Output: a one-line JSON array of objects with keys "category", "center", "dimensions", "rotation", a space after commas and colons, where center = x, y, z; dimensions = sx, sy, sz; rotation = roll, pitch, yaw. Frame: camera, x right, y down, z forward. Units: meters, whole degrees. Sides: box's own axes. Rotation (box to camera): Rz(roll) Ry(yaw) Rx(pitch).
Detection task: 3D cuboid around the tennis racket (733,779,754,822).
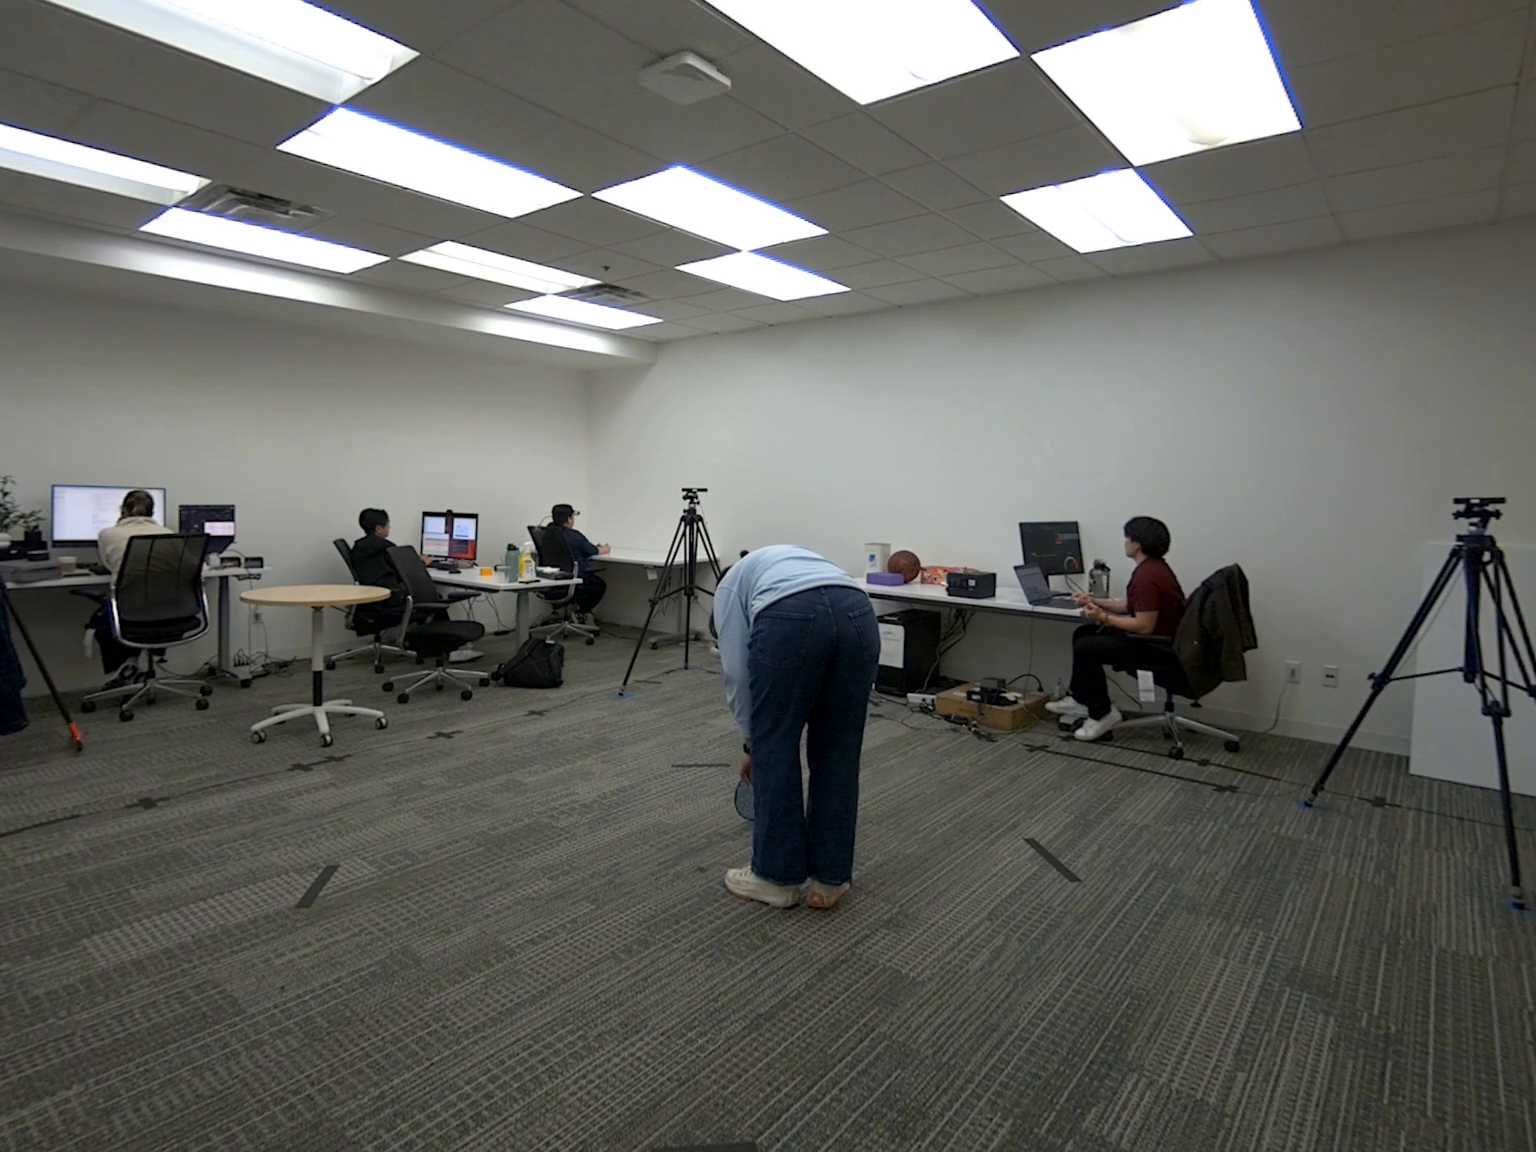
[{"category": "tennis racket", "center": [-0.057, 0.818, 3.498], "dimensions": [0.210, 0.424, 0.033], "rotation": [-8, 22, -17]}]
